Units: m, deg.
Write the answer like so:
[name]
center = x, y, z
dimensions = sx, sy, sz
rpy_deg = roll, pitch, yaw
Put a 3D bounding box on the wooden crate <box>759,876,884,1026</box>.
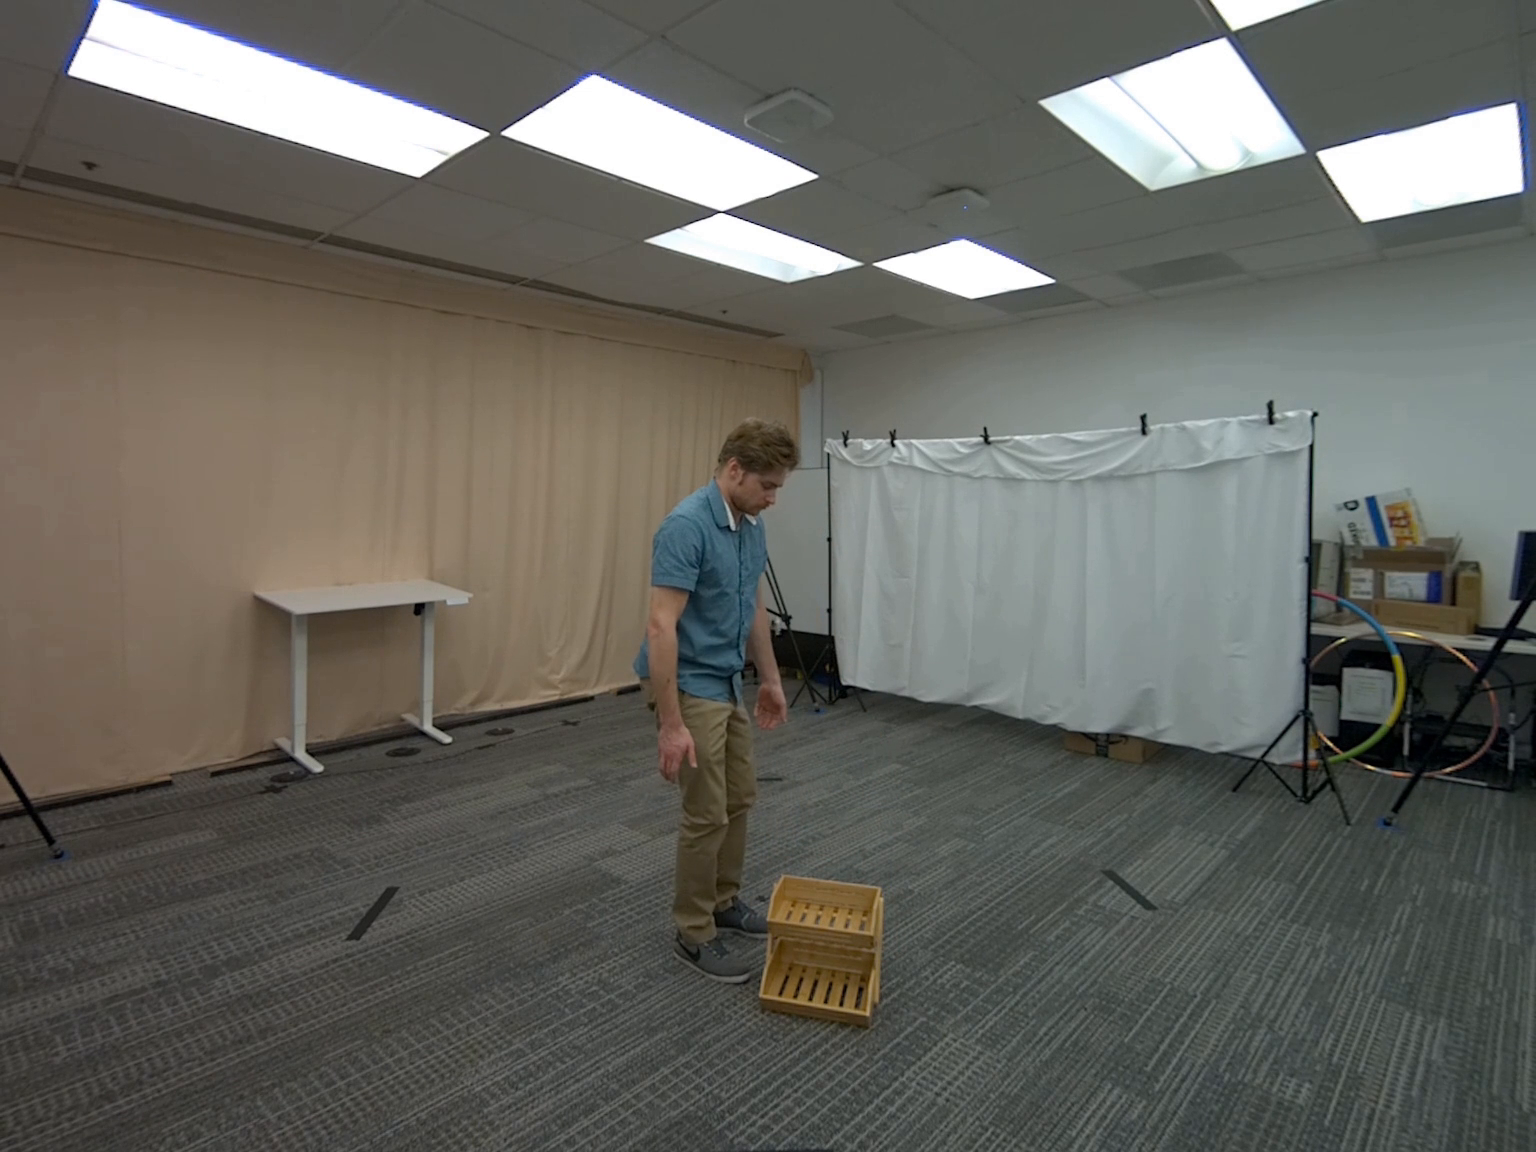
[wooden crate]
center = 0.164, 1.064, 2.393
dimensions = 0.330, 0.273, 0.298
rpy_deg = 1, 3, 14
